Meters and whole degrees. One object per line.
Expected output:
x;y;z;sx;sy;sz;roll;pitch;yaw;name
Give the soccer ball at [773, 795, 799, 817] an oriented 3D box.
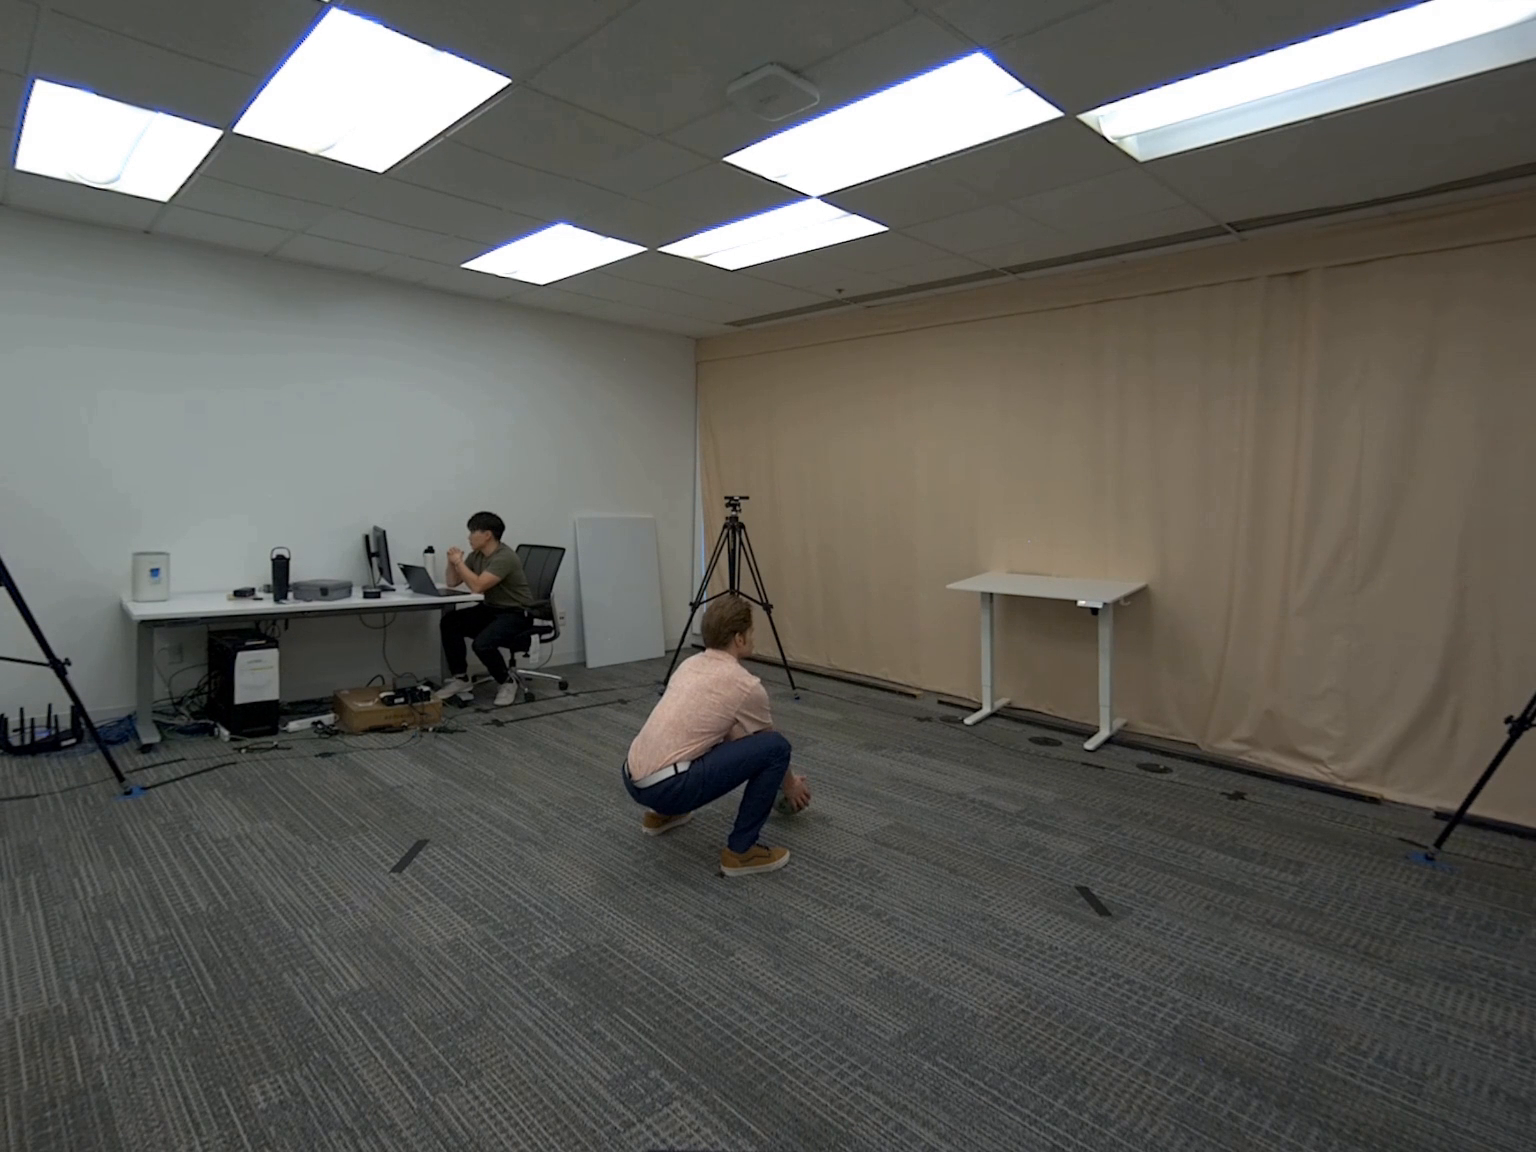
0.079;0.944;3.653;0.187;0.187;0.188;1;4;-1;soccer ball
